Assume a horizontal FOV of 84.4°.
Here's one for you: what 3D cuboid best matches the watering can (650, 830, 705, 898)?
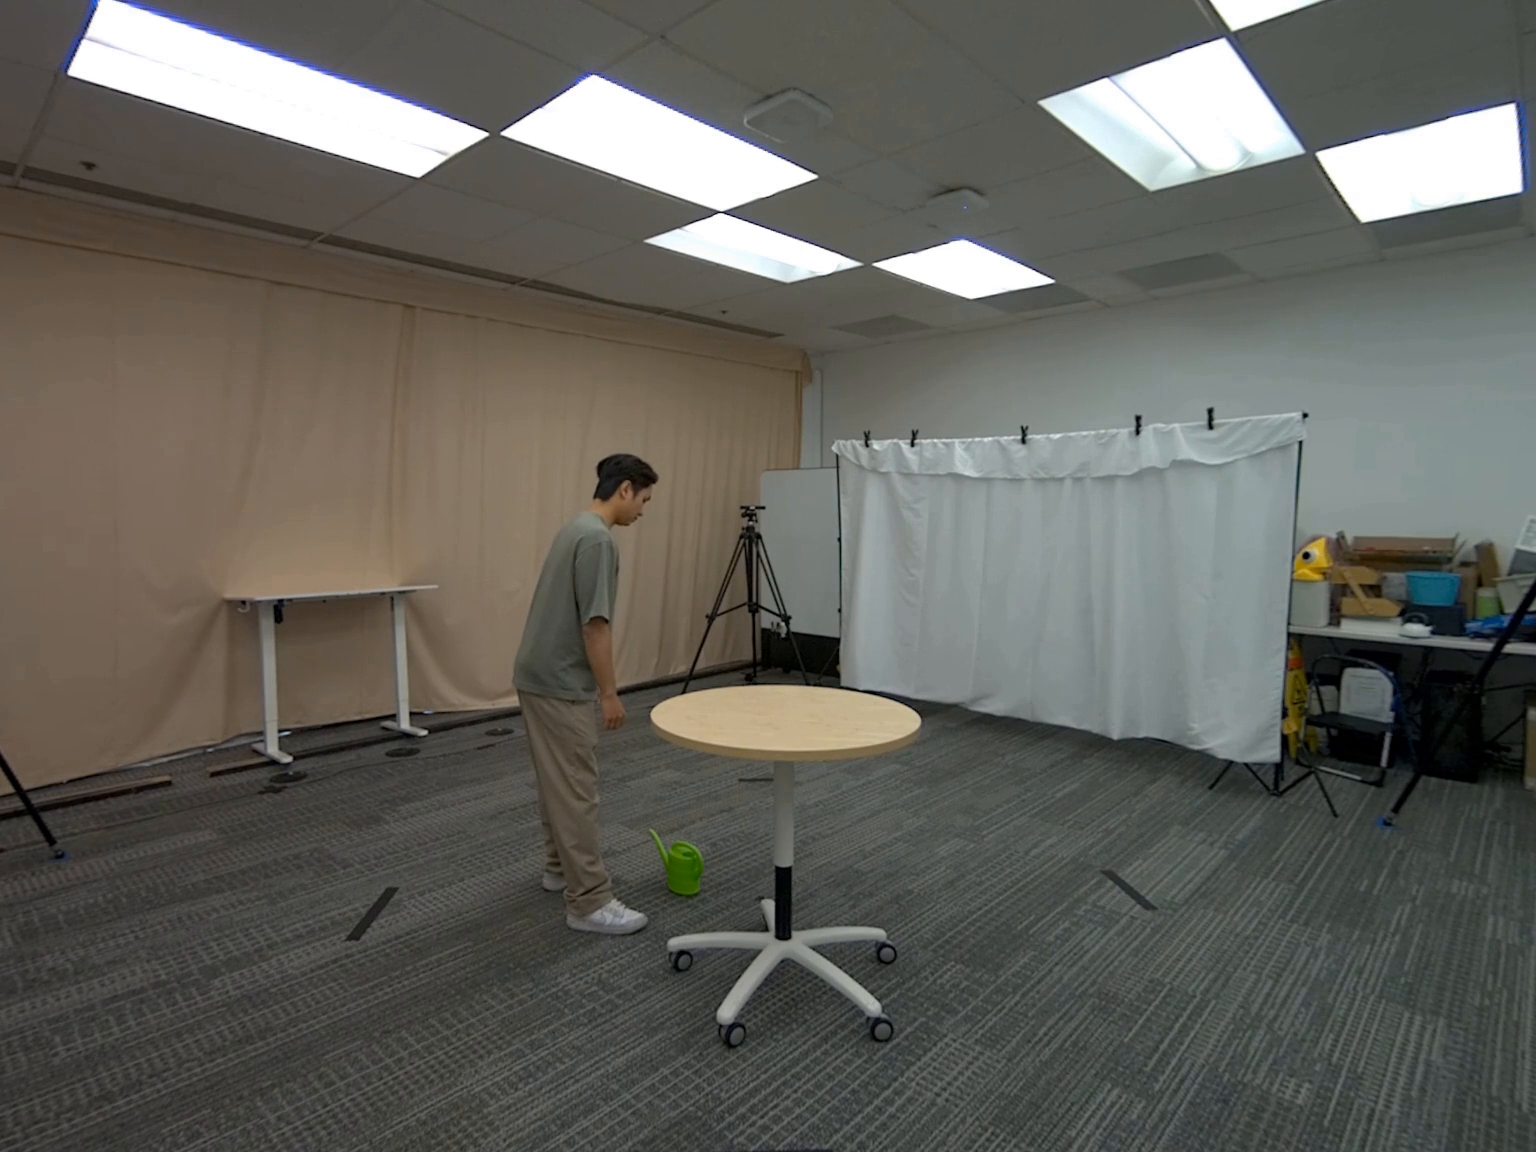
[{"bbox_3d":[-0.328,1.045,3.082,0.095,0.176,0.287,-1,5,-38],"label":"watering can"}]
